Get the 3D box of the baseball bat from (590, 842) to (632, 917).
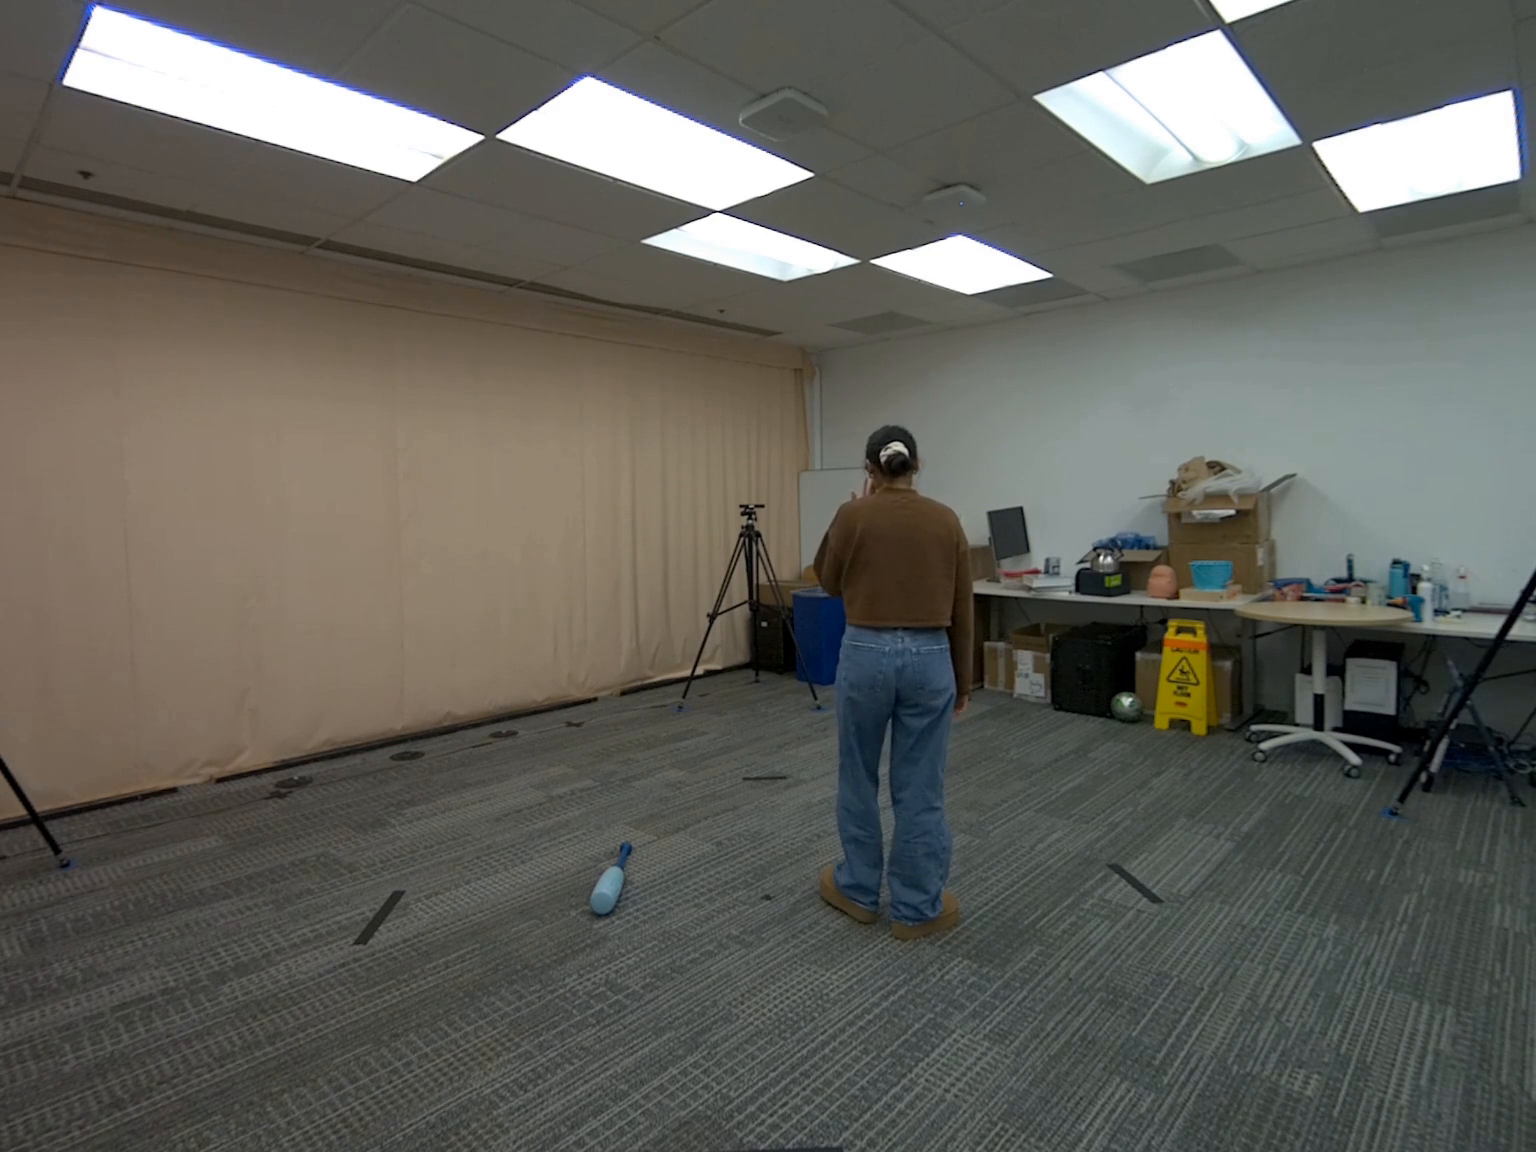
[{"bbox_3d":[-0.565,1.108,3.125,0.089,0.089,0.542,-1,2,1],"label":"baseball bat"}]
